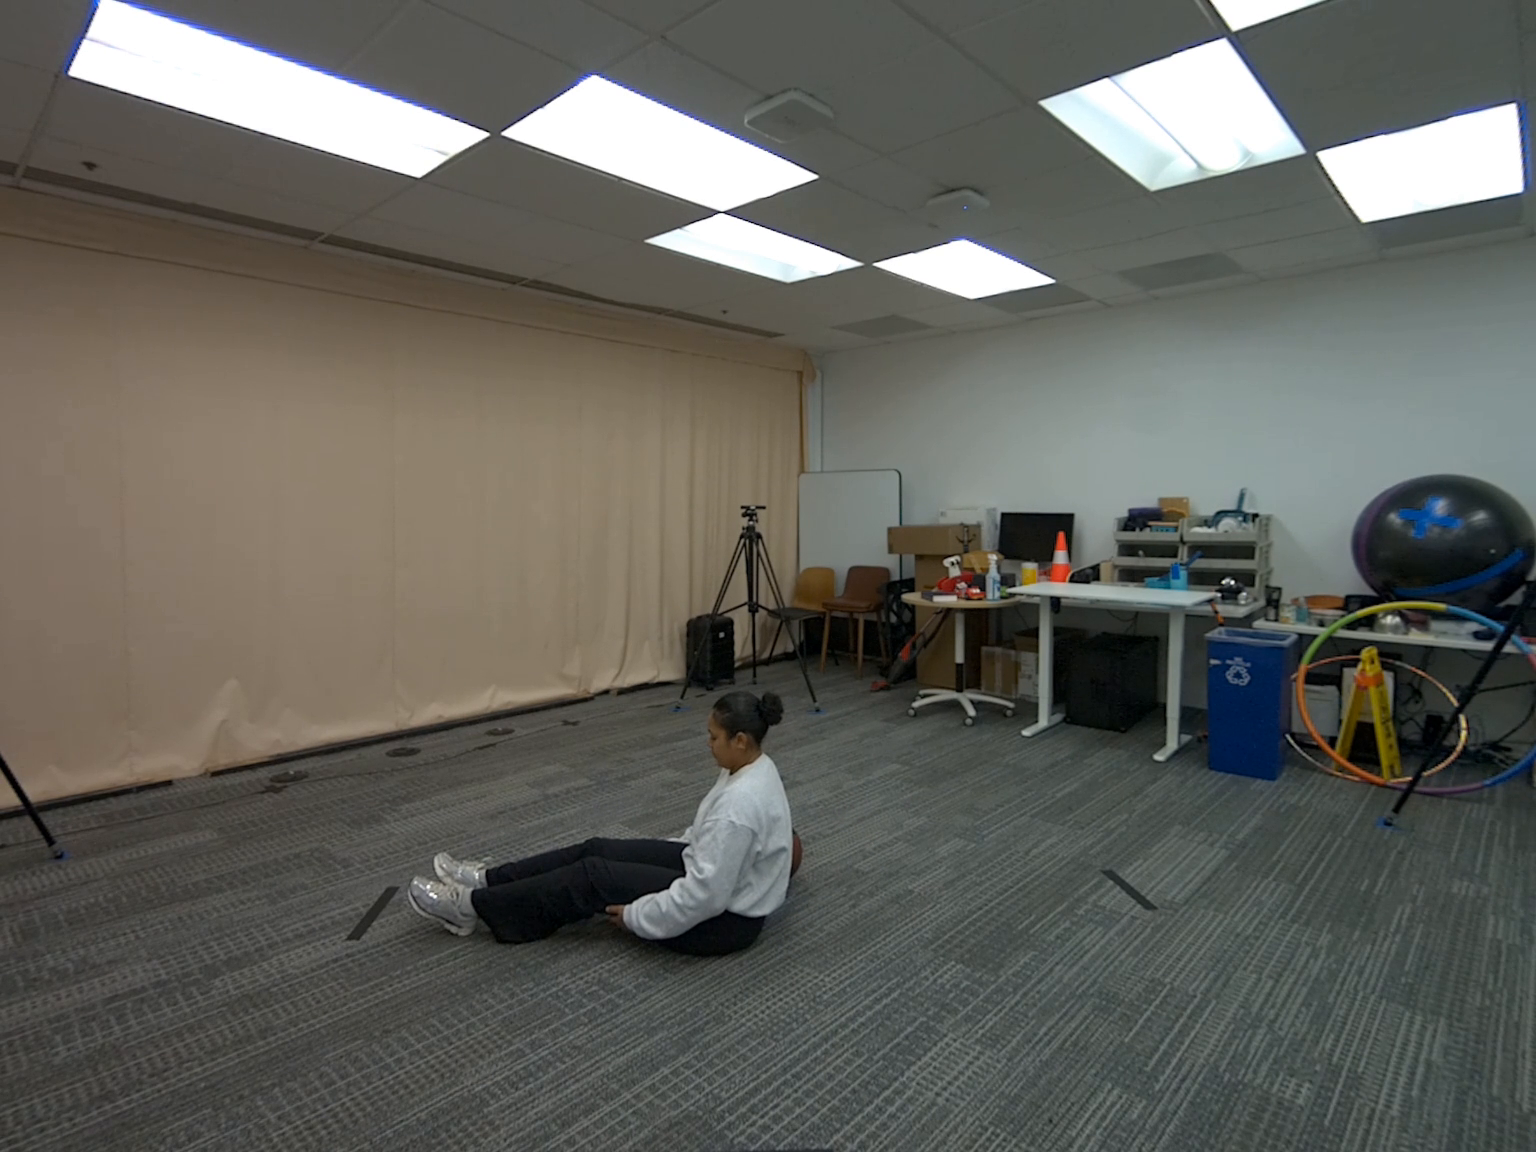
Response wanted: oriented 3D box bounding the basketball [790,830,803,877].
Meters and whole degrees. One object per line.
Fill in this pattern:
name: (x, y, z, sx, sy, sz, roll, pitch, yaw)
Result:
basketball: (0.007, 1.011, 3.097, 0.236, 0.235, 0.237, 0, 4, -2)
